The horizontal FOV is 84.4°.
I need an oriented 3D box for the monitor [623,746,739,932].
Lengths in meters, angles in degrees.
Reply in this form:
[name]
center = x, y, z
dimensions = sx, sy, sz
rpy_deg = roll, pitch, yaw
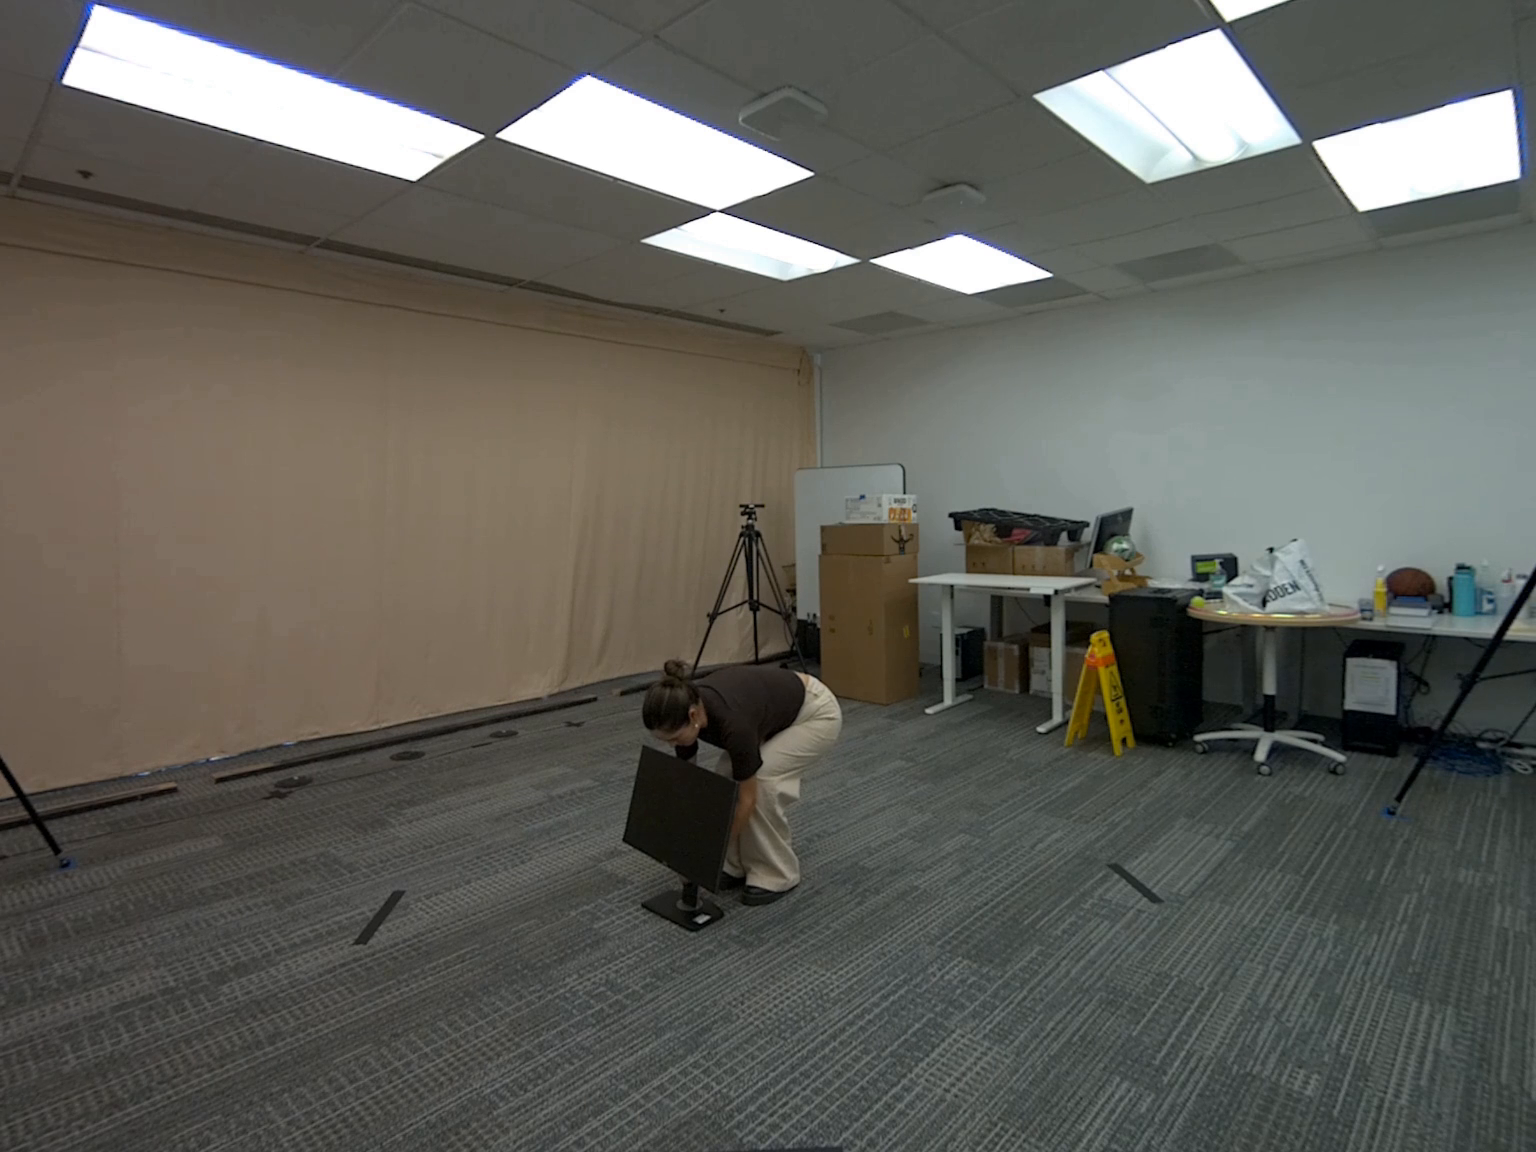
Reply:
[monitor]
center = -0.293, 0.906, 2.892
dimensions = 0.181, 0.521, 0.557
rpy_deg = -2, 5, -42
